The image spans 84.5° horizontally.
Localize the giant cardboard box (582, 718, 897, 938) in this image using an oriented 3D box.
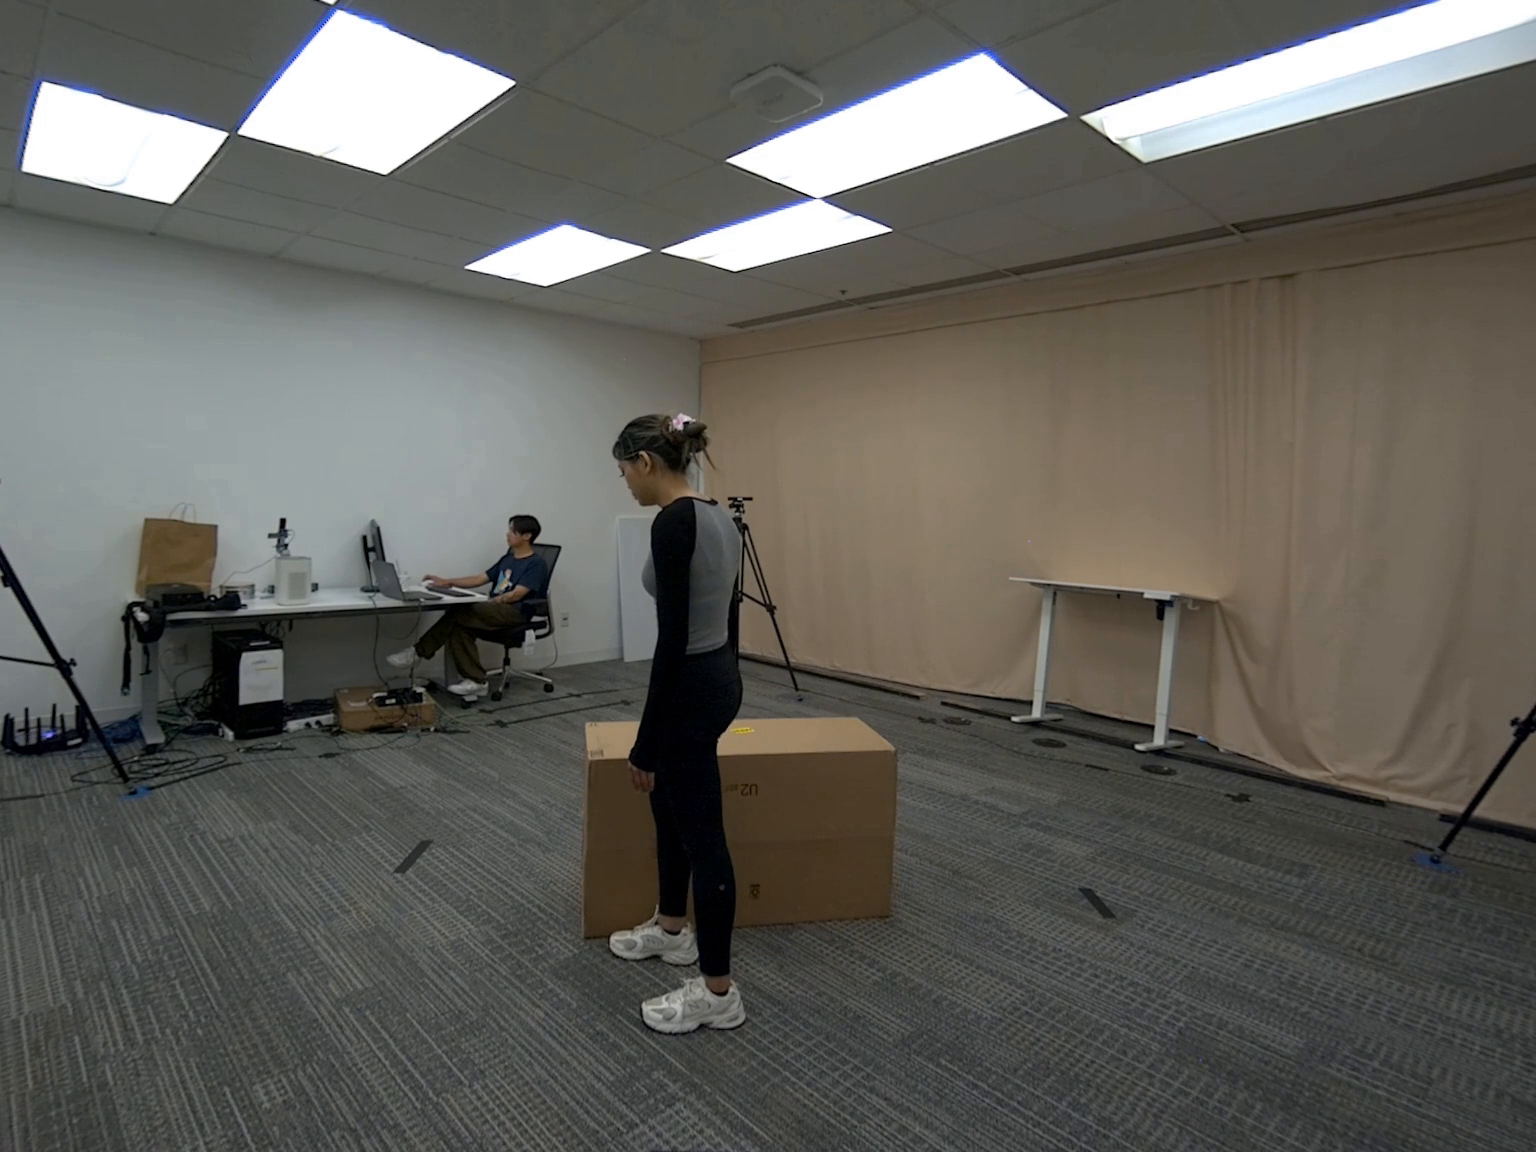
[{"bbox_3d":[-0.124,0.835,2.923,1.016,0.576,0.431,0,5,-11],"label":"giant cardboard box"}]
